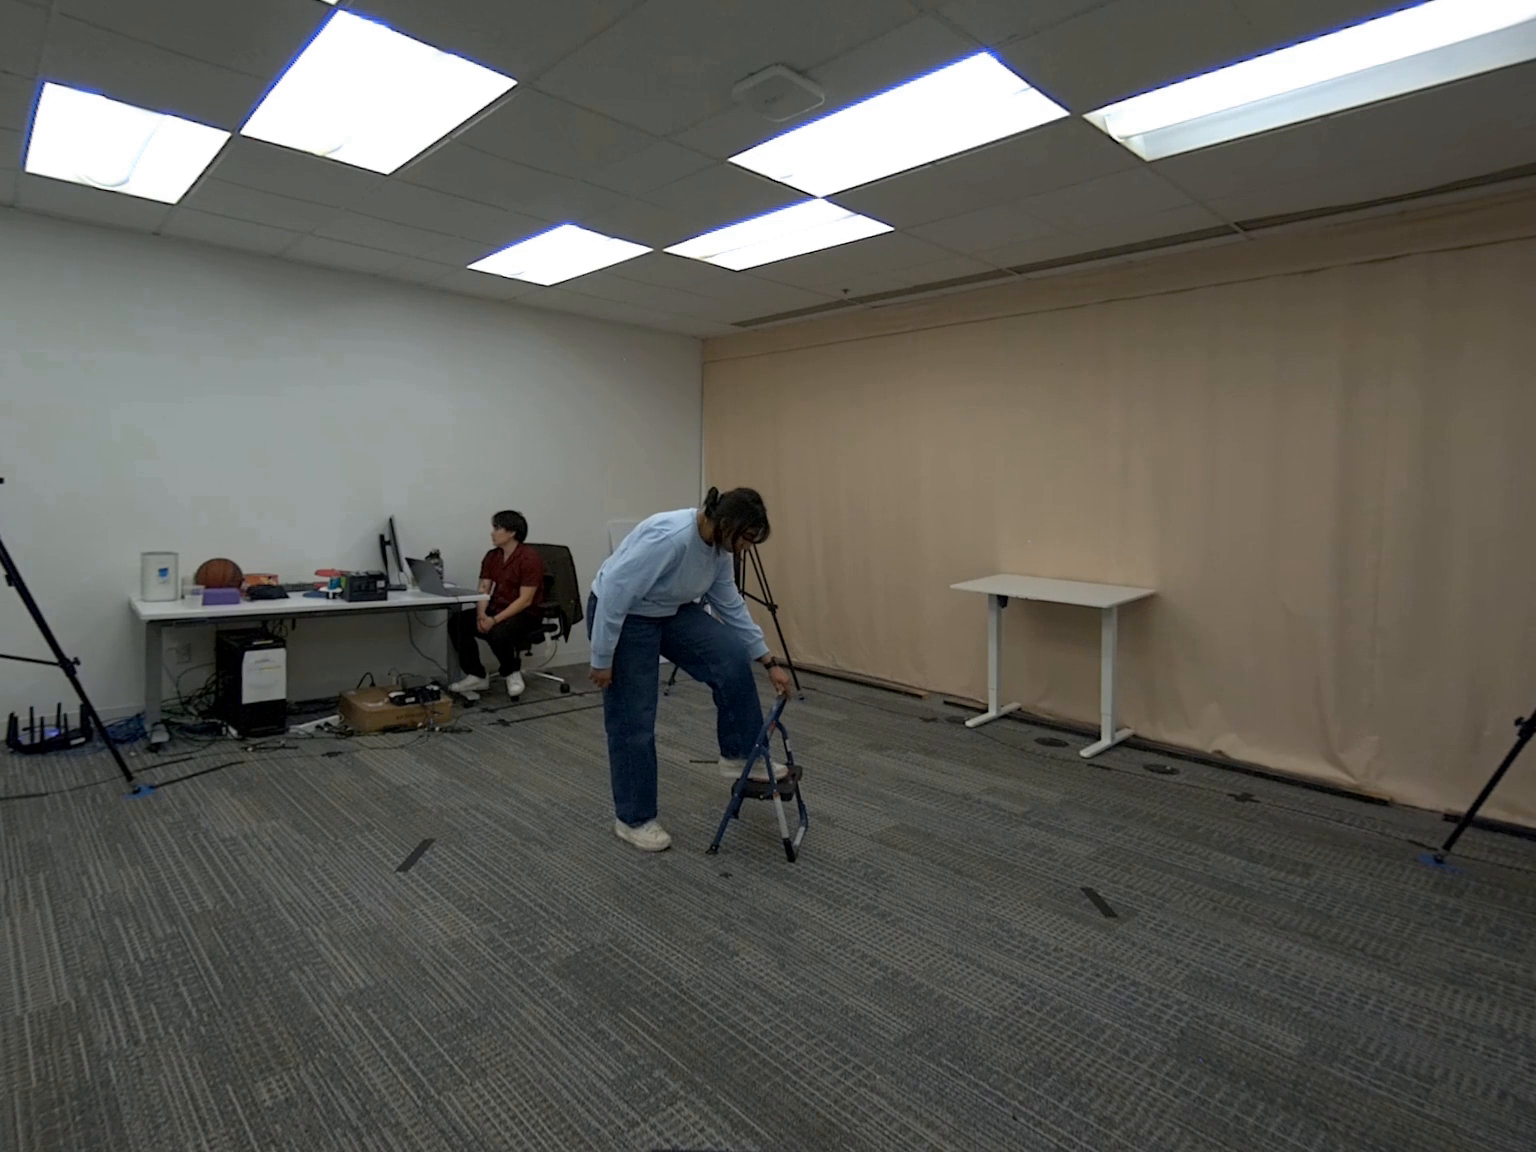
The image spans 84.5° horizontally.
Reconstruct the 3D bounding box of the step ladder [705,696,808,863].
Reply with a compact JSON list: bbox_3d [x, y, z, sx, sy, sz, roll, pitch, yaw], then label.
[{"bbox_3d":[-0.033,0.777,3.441,0.353,0.605,0.427,2,3,11],"label":"step ladder"}]
